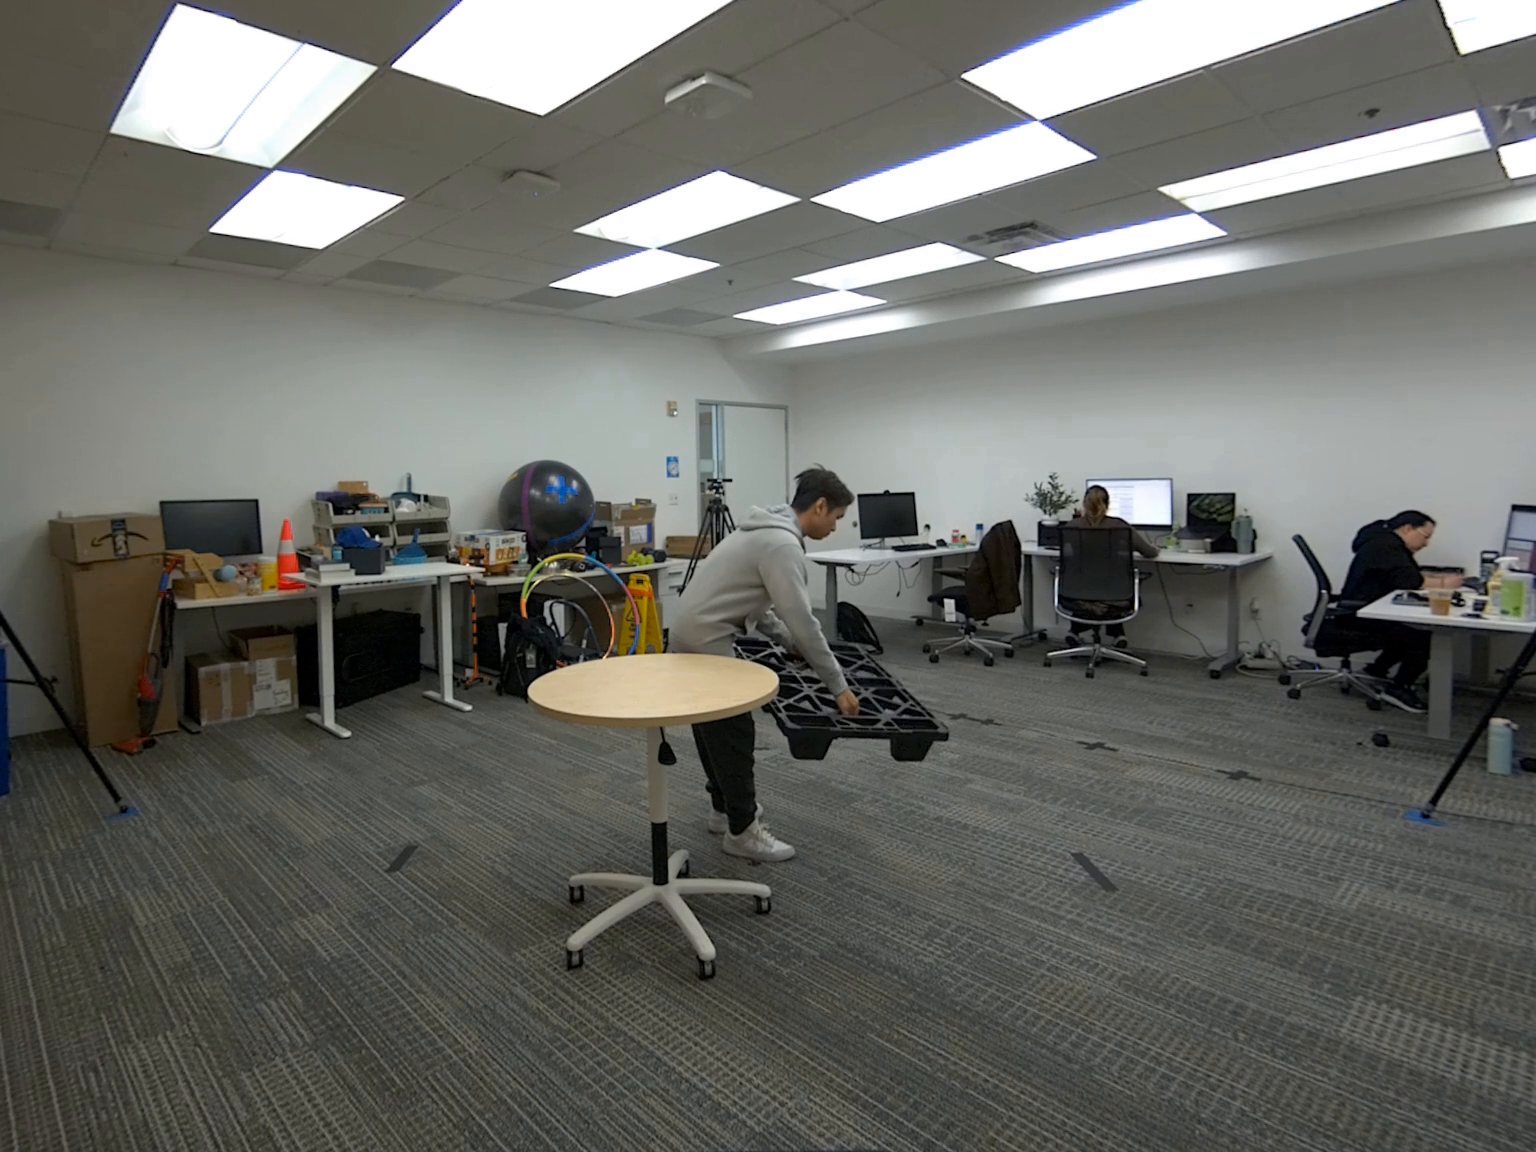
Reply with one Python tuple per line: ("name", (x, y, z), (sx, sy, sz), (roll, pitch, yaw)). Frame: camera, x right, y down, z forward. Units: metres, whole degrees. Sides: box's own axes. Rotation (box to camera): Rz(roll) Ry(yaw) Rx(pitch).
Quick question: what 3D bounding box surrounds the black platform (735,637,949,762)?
("black platform", (0.214, 0.451, 3.188), (0.595, 0.142, 0.828), (3, 15, -18))
